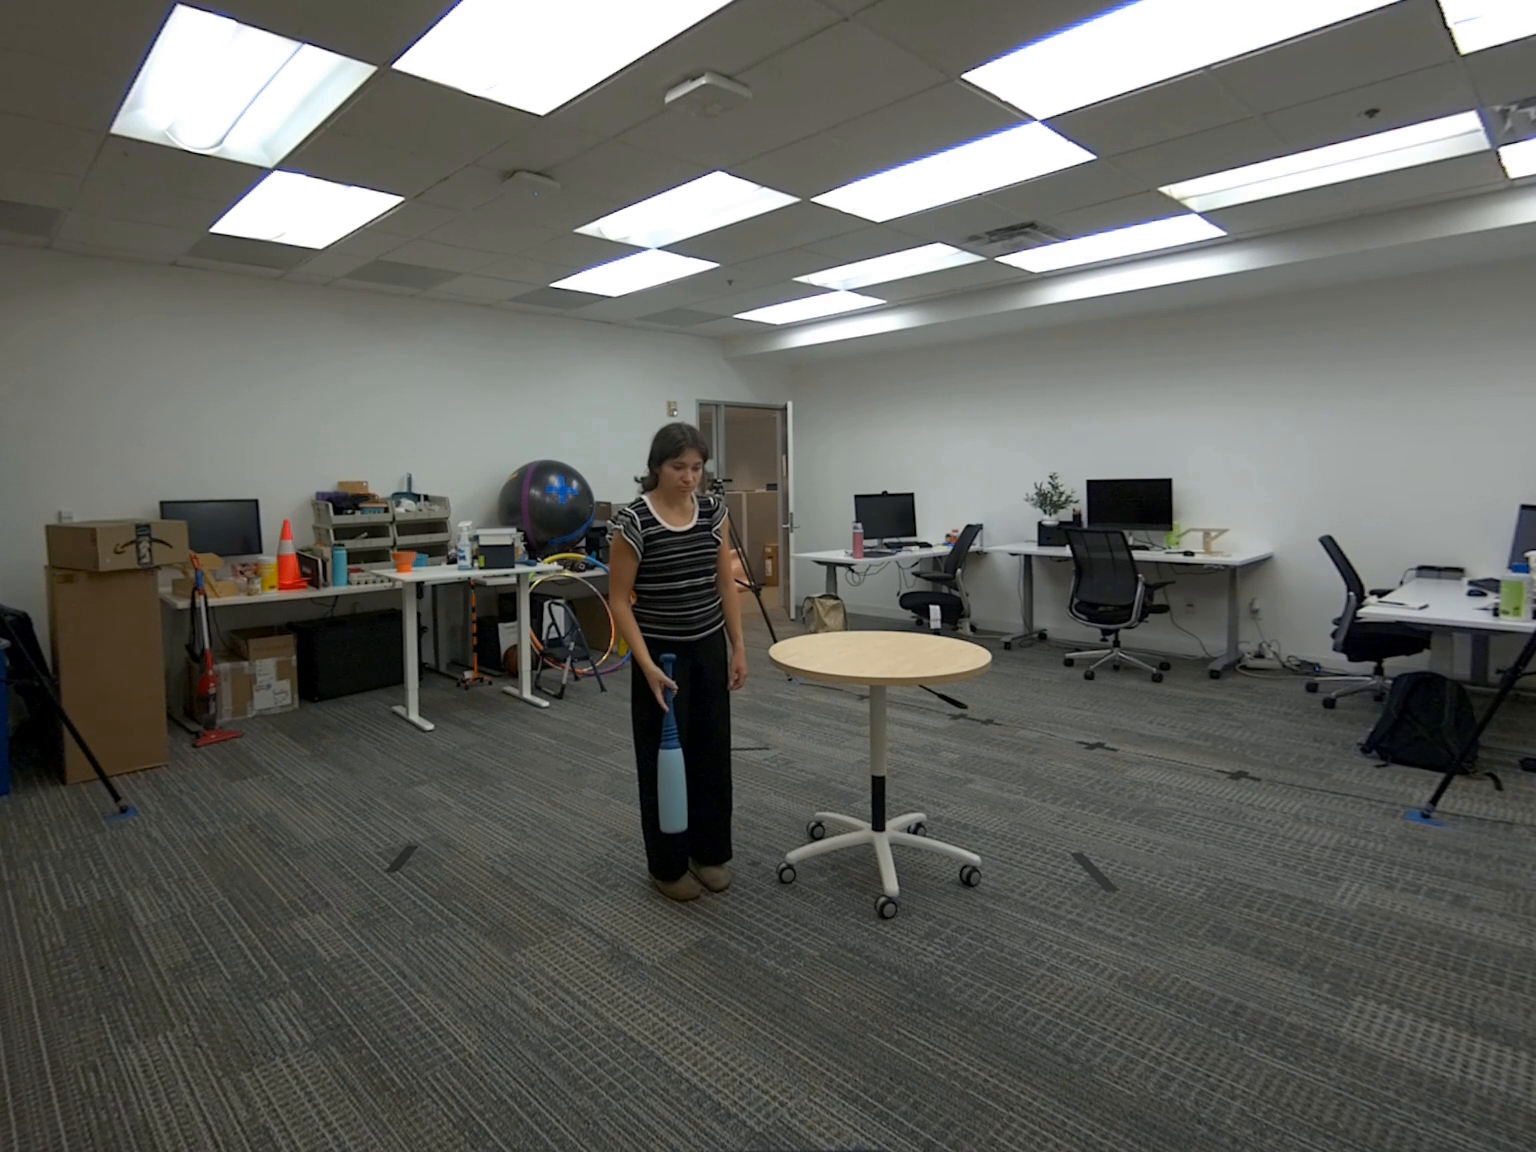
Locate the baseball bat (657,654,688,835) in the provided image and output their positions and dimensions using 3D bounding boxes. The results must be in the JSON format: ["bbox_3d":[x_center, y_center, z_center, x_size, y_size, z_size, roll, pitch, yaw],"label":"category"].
[{"bbox_3d":[-0.307,0.525,2.656,0.089,0.547,0.088,-1,-8,-2],"label":"baseball bat"}]
